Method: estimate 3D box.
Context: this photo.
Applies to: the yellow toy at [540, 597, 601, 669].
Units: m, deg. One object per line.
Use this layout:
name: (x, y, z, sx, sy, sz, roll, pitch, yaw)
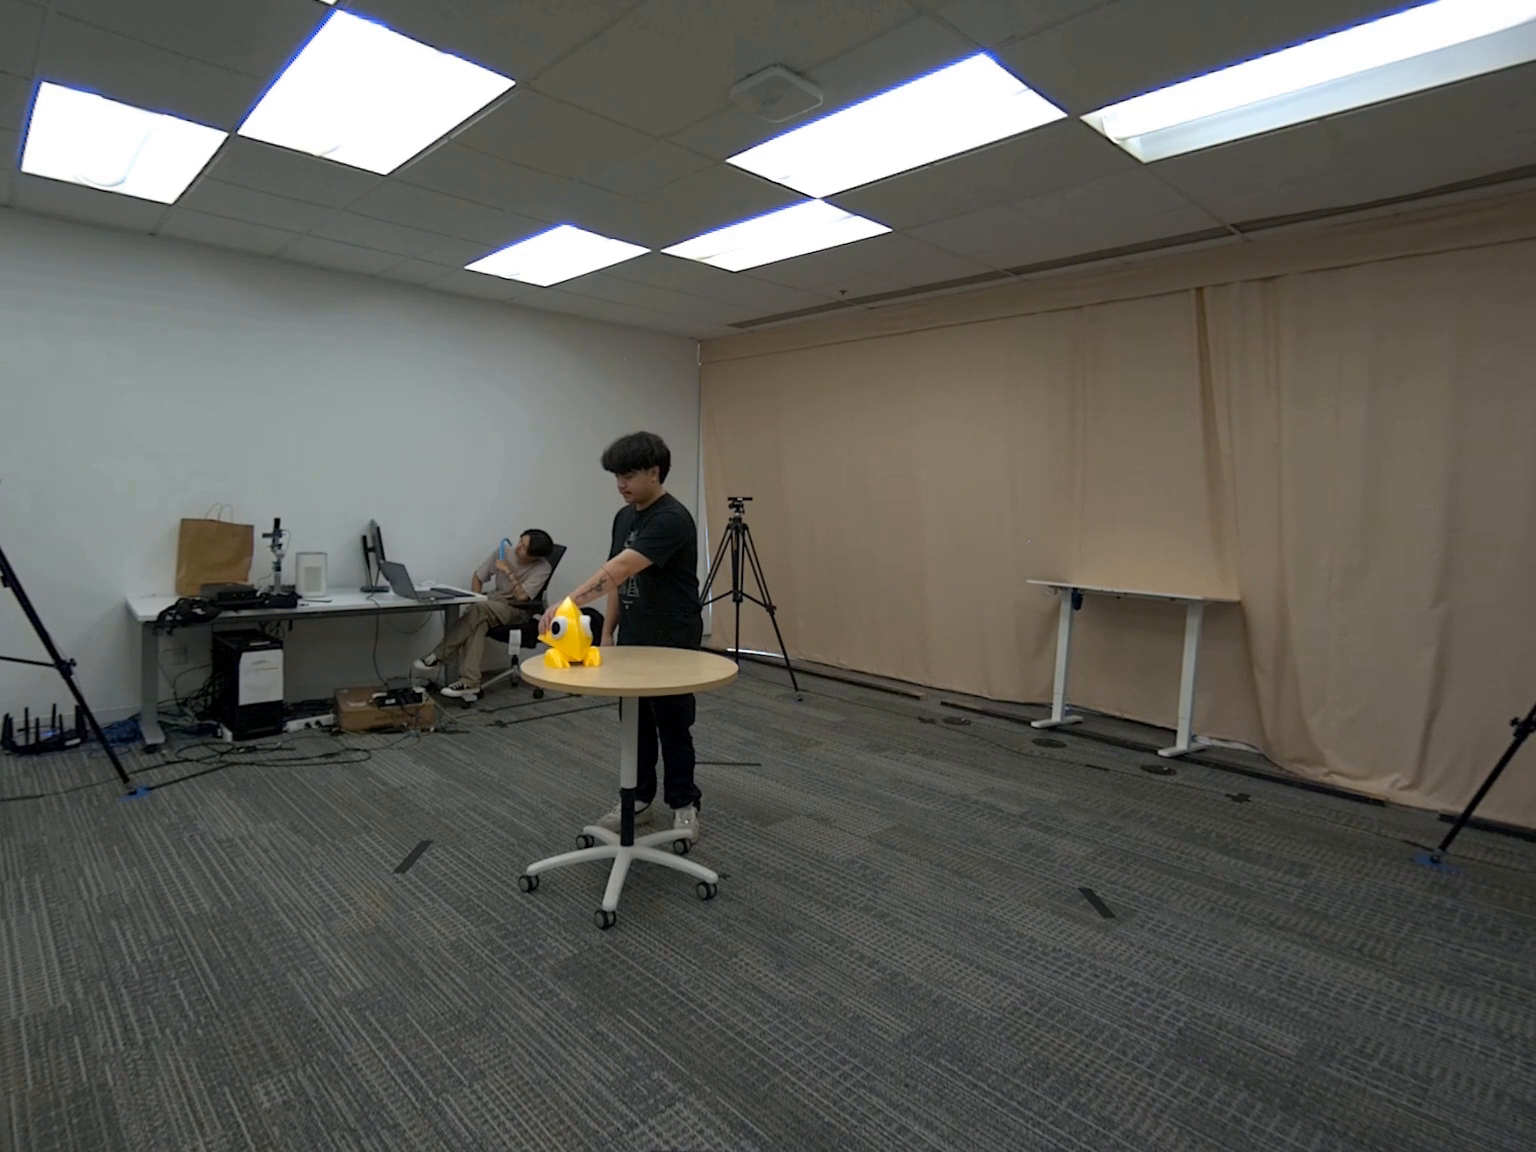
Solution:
yellow toy: (-0.704, 0.198, 2.994, 0.201, 0.230, 0.197, -1, 5, -26)
